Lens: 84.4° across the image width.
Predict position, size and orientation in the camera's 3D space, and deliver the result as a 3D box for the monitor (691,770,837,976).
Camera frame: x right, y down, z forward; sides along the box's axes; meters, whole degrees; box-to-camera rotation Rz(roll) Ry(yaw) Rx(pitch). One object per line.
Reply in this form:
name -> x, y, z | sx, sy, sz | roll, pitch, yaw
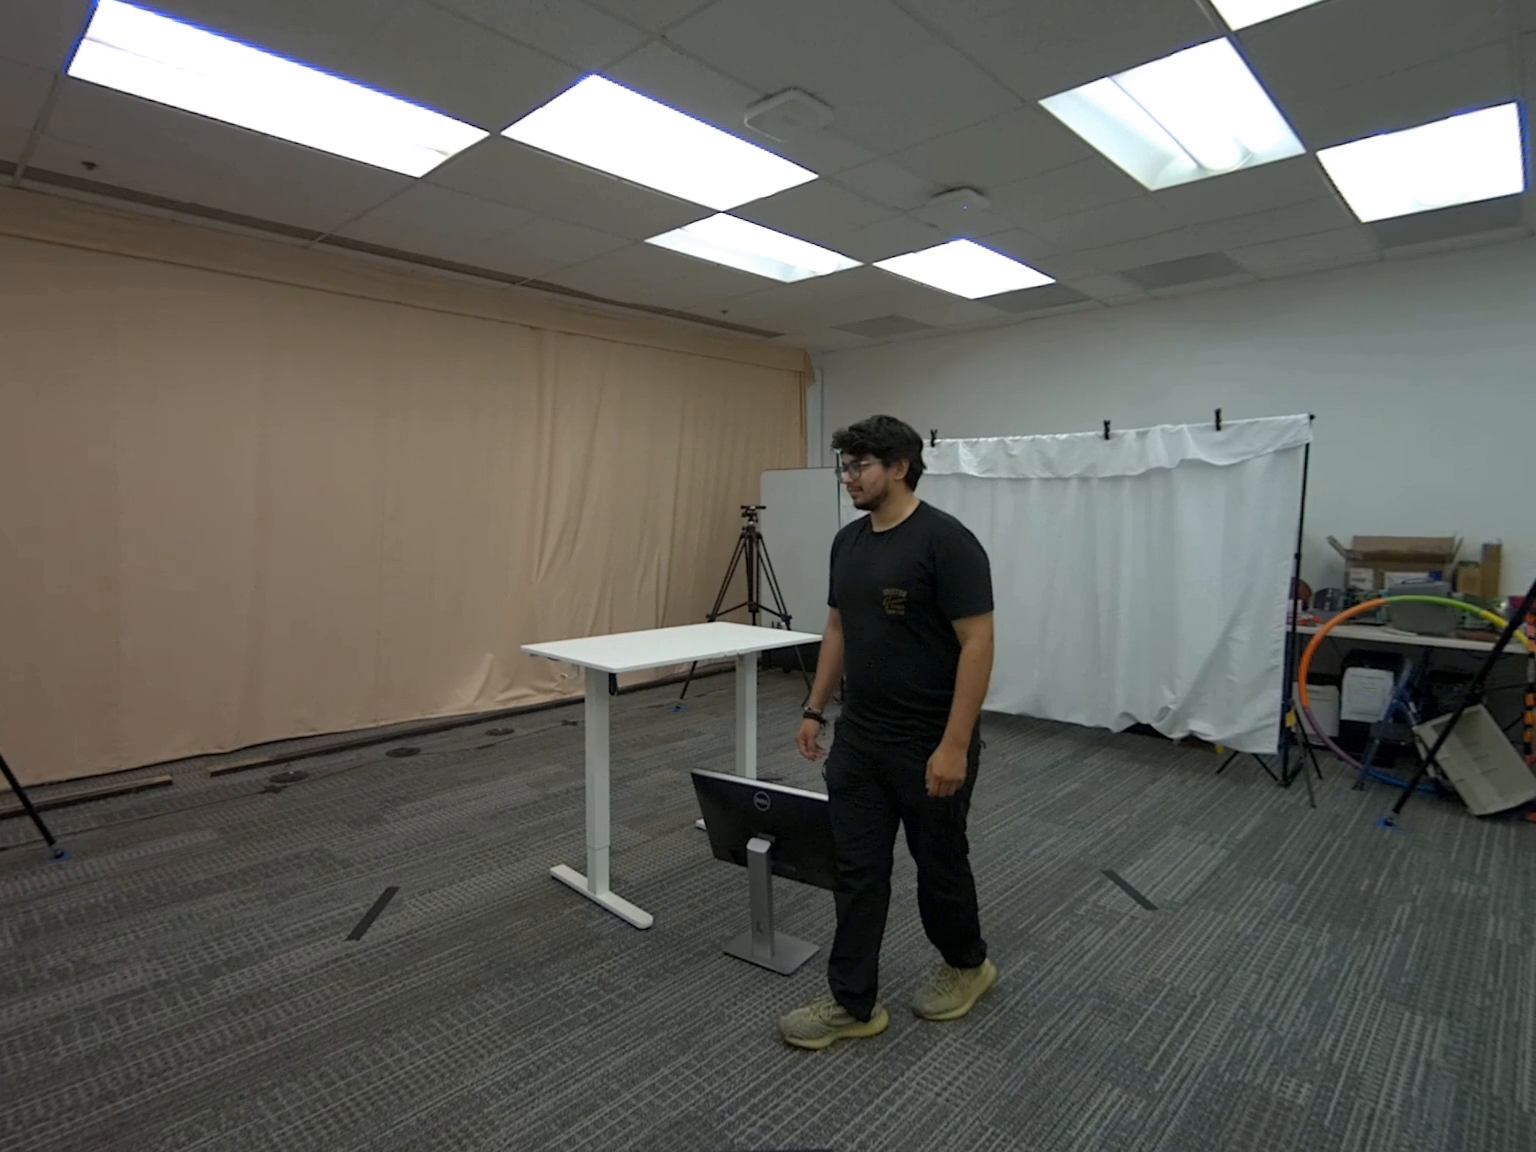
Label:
monitor -> -0.001, 0.911, 2.593 | 0.583, 0.549, 0.205 | 2, 13, 33
